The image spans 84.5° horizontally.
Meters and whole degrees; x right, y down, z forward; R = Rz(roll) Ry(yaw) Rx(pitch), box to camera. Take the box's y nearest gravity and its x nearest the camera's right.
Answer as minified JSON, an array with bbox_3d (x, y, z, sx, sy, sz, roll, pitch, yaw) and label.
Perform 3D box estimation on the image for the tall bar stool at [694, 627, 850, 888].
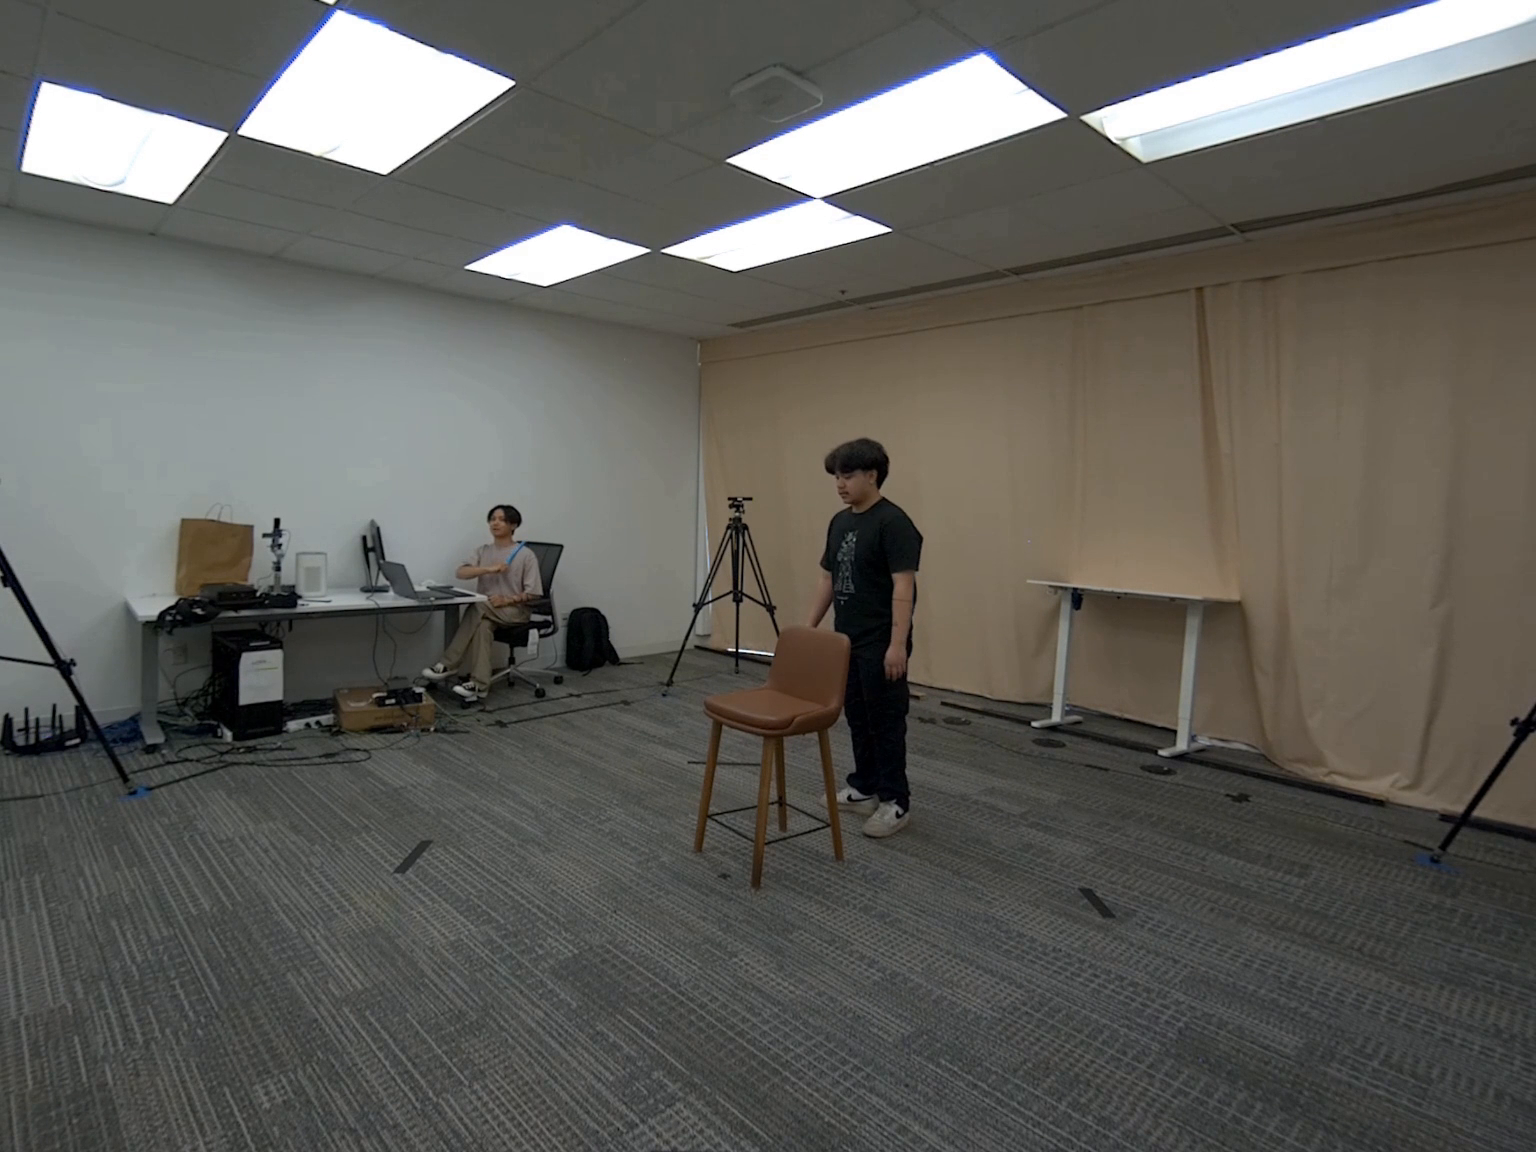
[{"bbox_3d":[0.014,0.662,3.269,0.457,0.889,0.468,1,2,-37],"label":"tall bar stool"}]
